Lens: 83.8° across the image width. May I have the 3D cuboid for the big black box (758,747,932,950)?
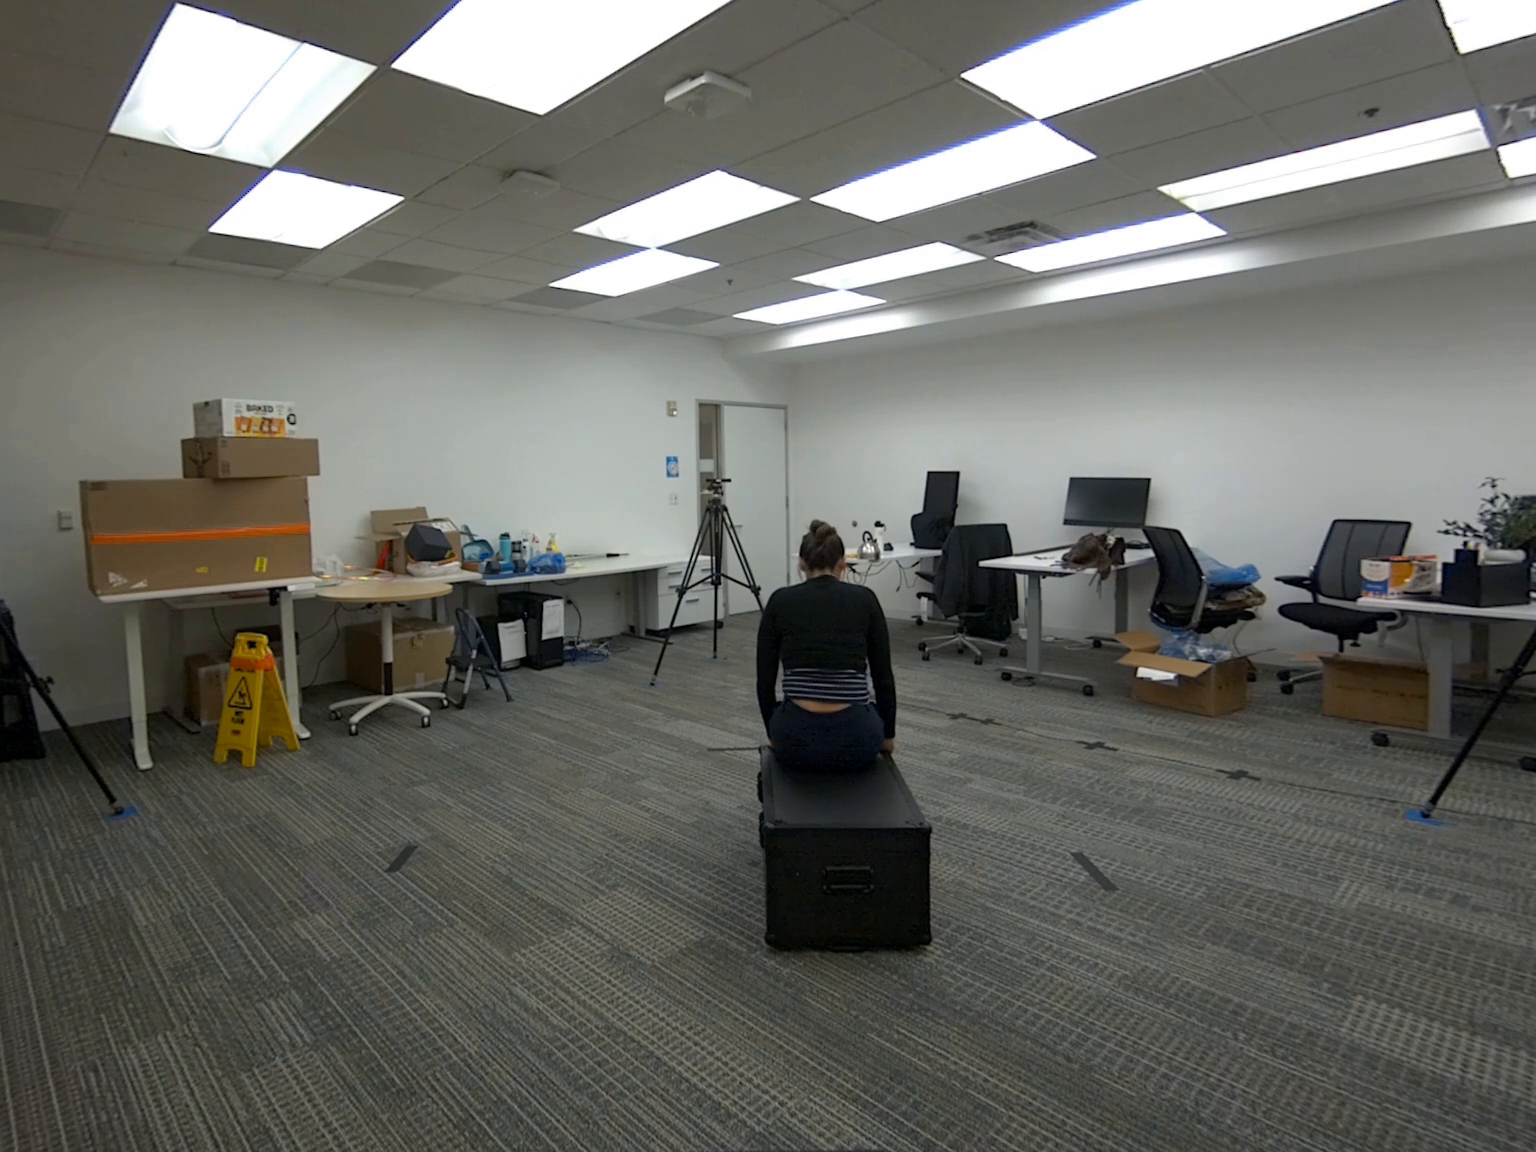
[{"bbox_3d":[0.228,0.871,2.908,0.521,0.395,0.864,-1,5,-1],"label":"big black box"}]
